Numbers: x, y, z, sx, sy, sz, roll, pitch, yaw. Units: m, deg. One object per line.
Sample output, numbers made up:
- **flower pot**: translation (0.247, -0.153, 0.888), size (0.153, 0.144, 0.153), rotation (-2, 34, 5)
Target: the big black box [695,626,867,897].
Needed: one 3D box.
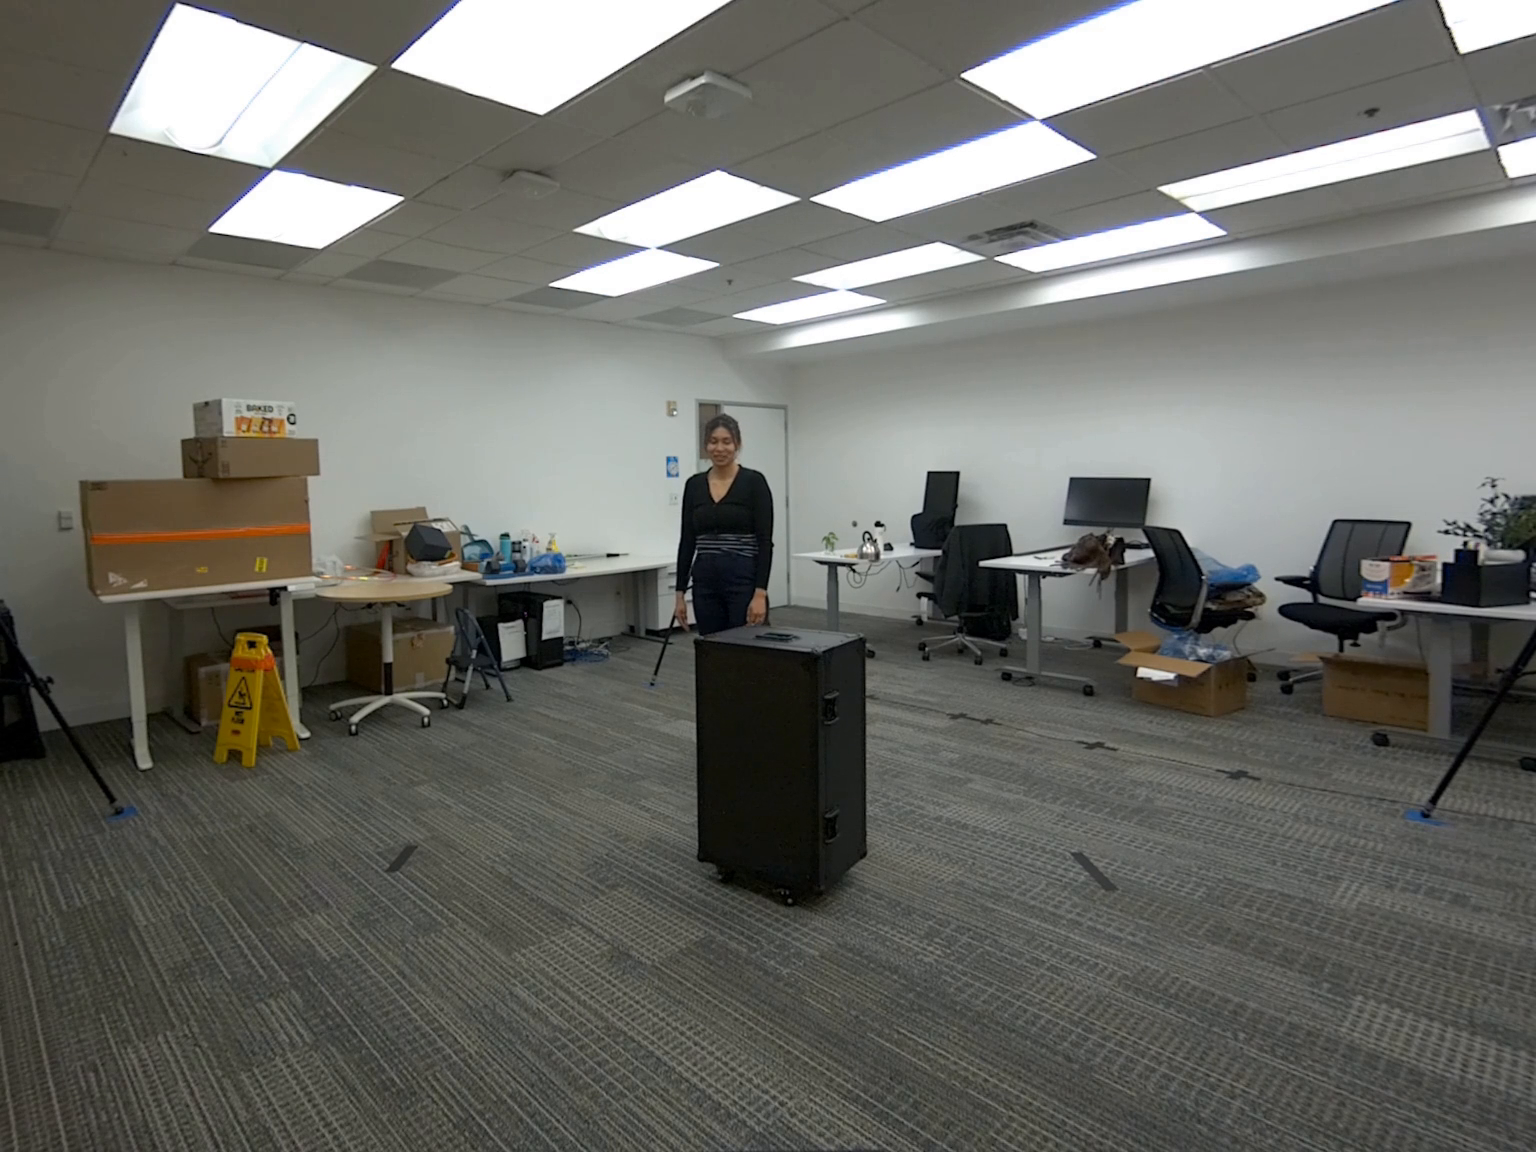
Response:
- **big black box**: translation (0.050, 0.636, 2.976), size (0.536, 0.859, 0.386), rotation (1, 3, 34)
